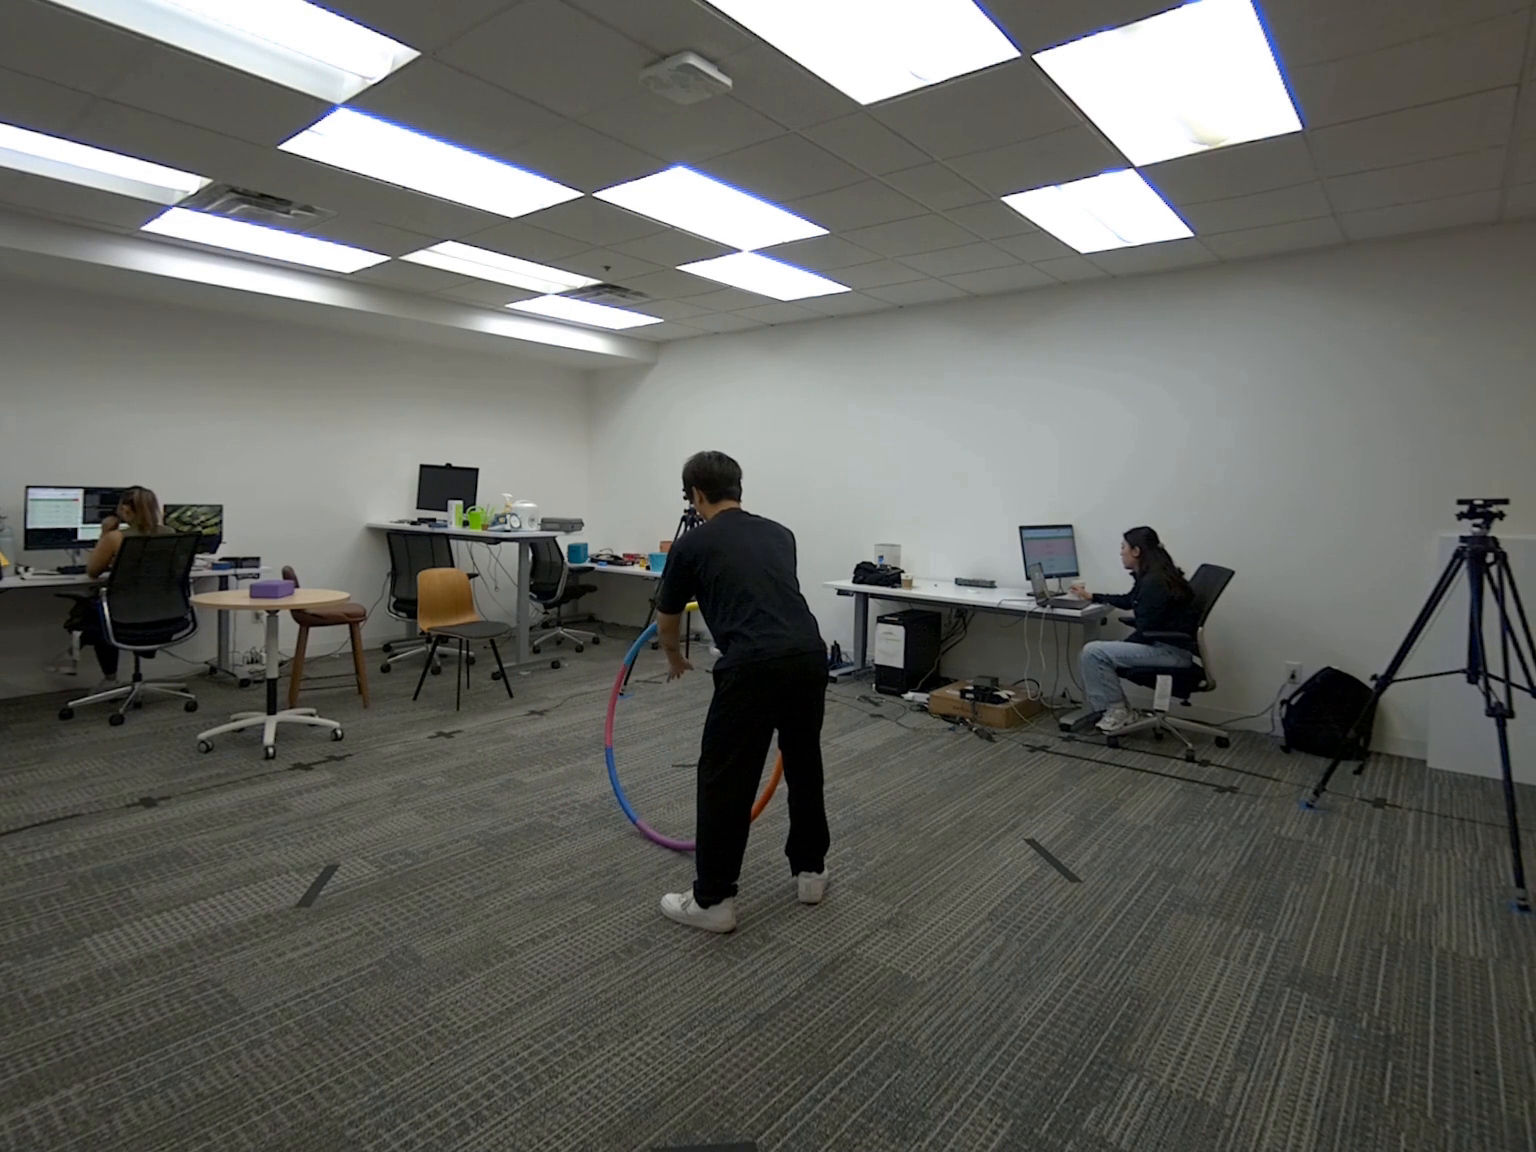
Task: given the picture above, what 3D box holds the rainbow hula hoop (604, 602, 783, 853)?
[{"bbox_3d":[-0.322,0.583,3.409,1.012,0.986,0.034,4,-14,41],"label":"rainbow hula hoop"}]
